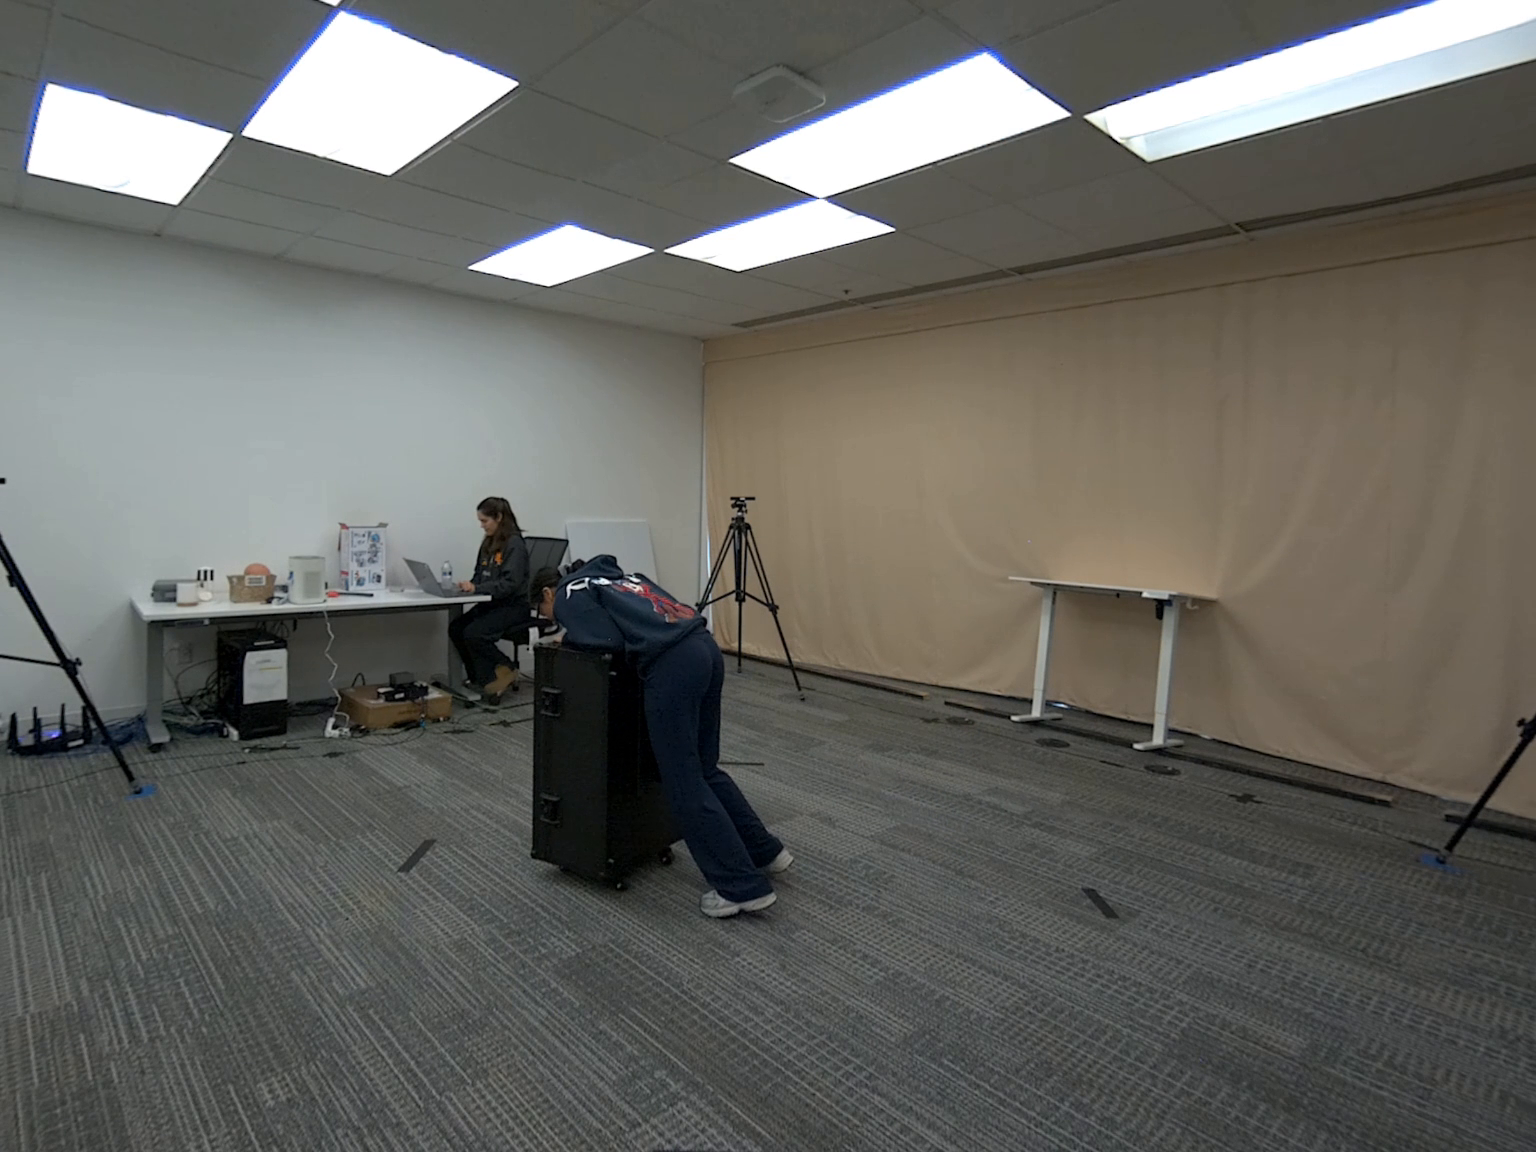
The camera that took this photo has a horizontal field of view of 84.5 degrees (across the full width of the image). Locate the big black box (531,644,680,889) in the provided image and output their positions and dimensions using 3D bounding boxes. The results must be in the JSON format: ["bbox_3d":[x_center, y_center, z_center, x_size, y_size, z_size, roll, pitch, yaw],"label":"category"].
[{"bbox_3d":[-0.574,0.670,3.148,0.405,0.859,0.511,4,4,30],"label":"big black box"}]
